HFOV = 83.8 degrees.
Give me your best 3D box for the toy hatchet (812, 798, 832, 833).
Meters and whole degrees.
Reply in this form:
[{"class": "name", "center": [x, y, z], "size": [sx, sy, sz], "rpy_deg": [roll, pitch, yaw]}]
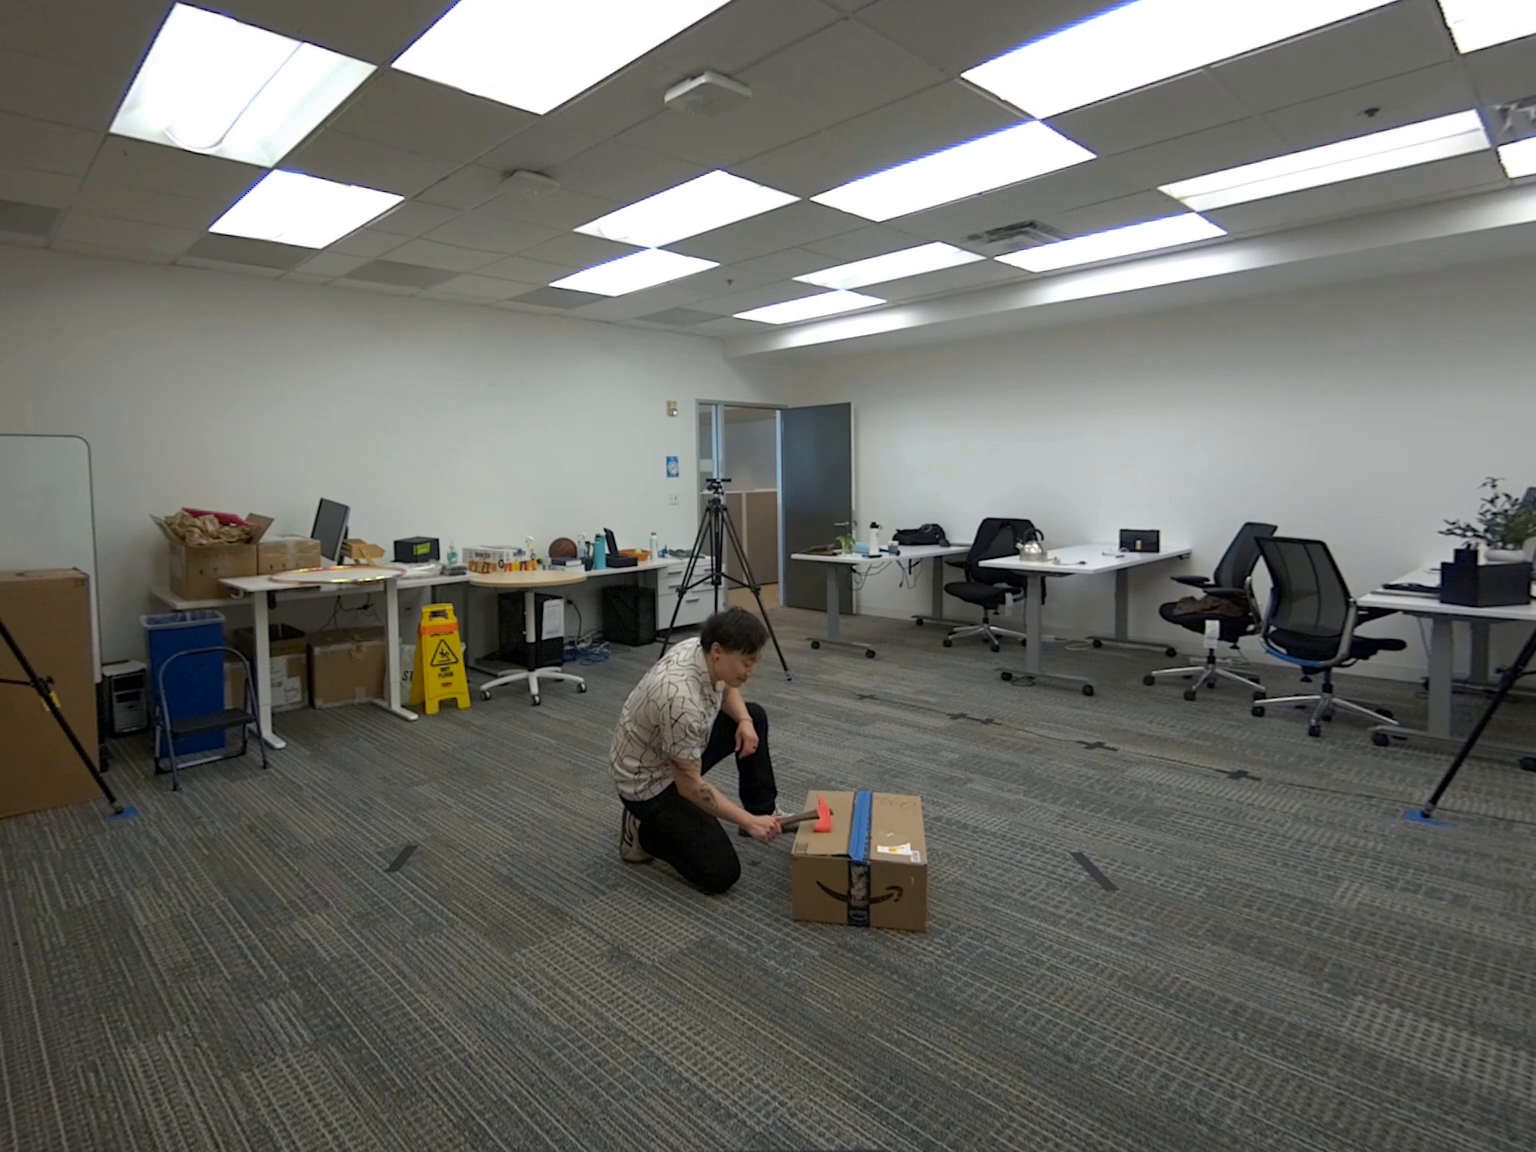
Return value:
[{"class": "toy hatchet", "center": [0.100, 0.840, 2.855], "size": [0.268, 0.029, 0.136], "rpy_deg": [-24, 46, -15]}]
